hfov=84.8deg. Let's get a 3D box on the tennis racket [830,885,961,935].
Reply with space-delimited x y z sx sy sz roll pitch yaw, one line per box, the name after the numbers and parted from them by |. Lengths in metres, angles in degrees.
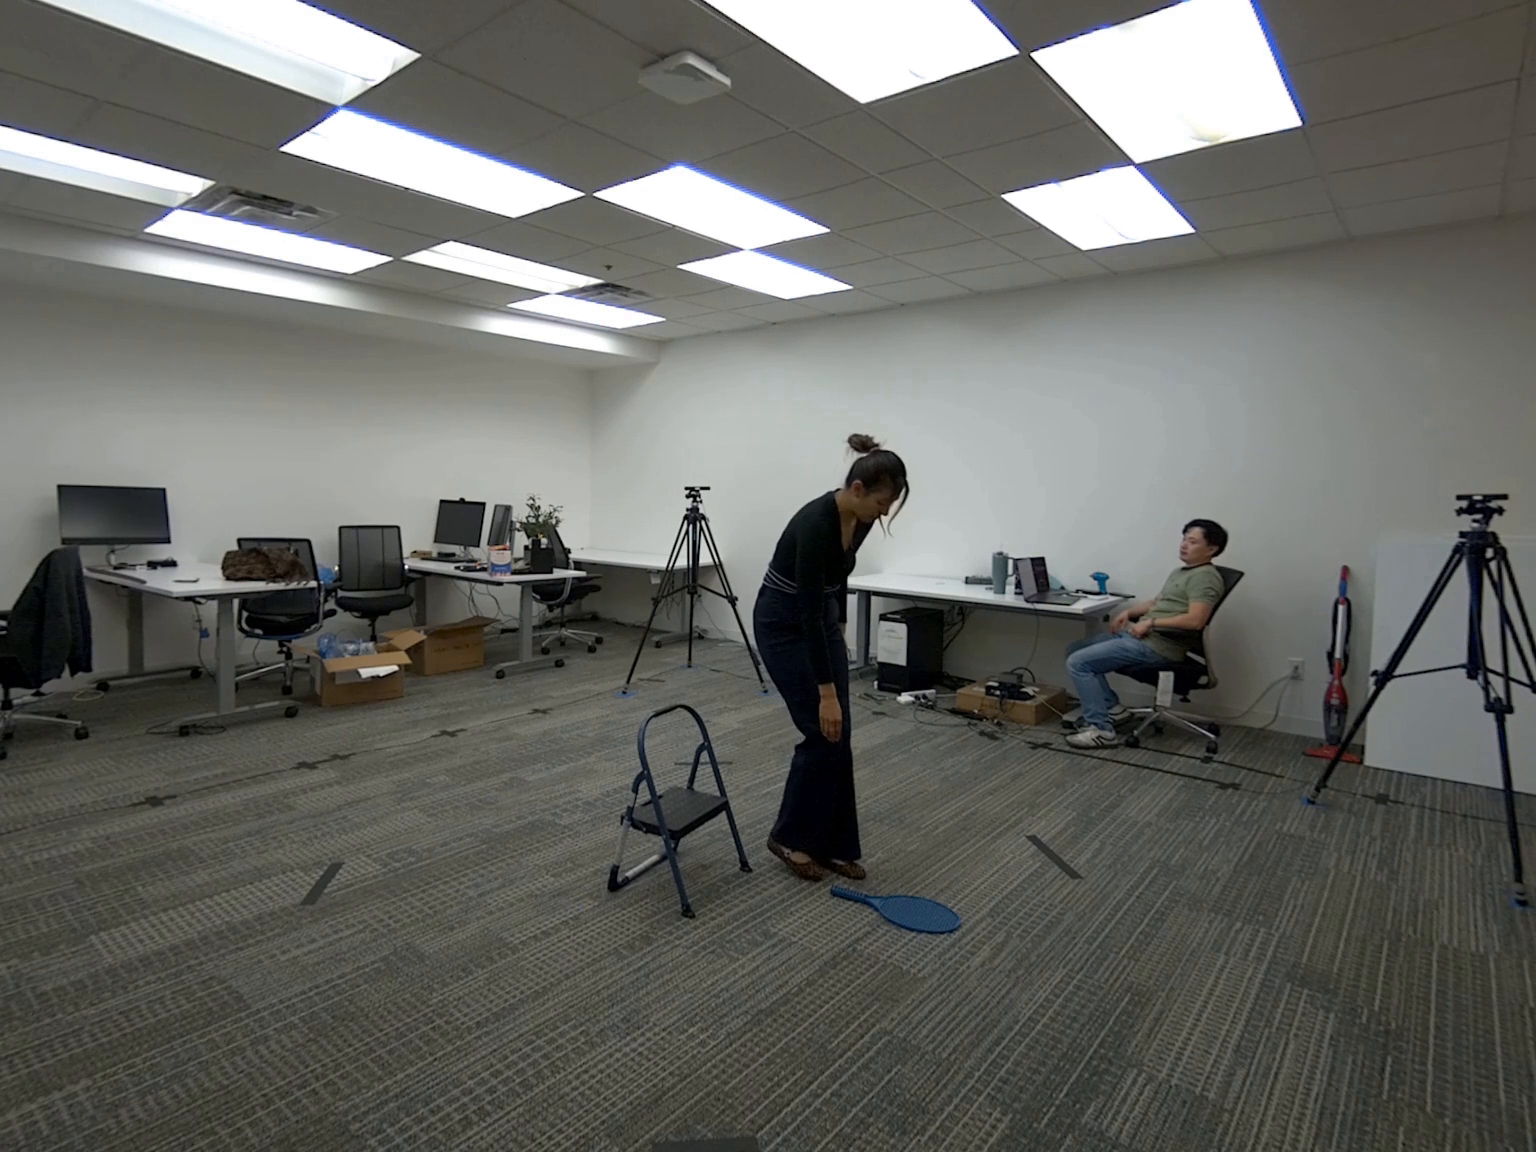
0.403 1.087 2.826 0.443 0.031 0.209 4 7 23 | tennis racket
